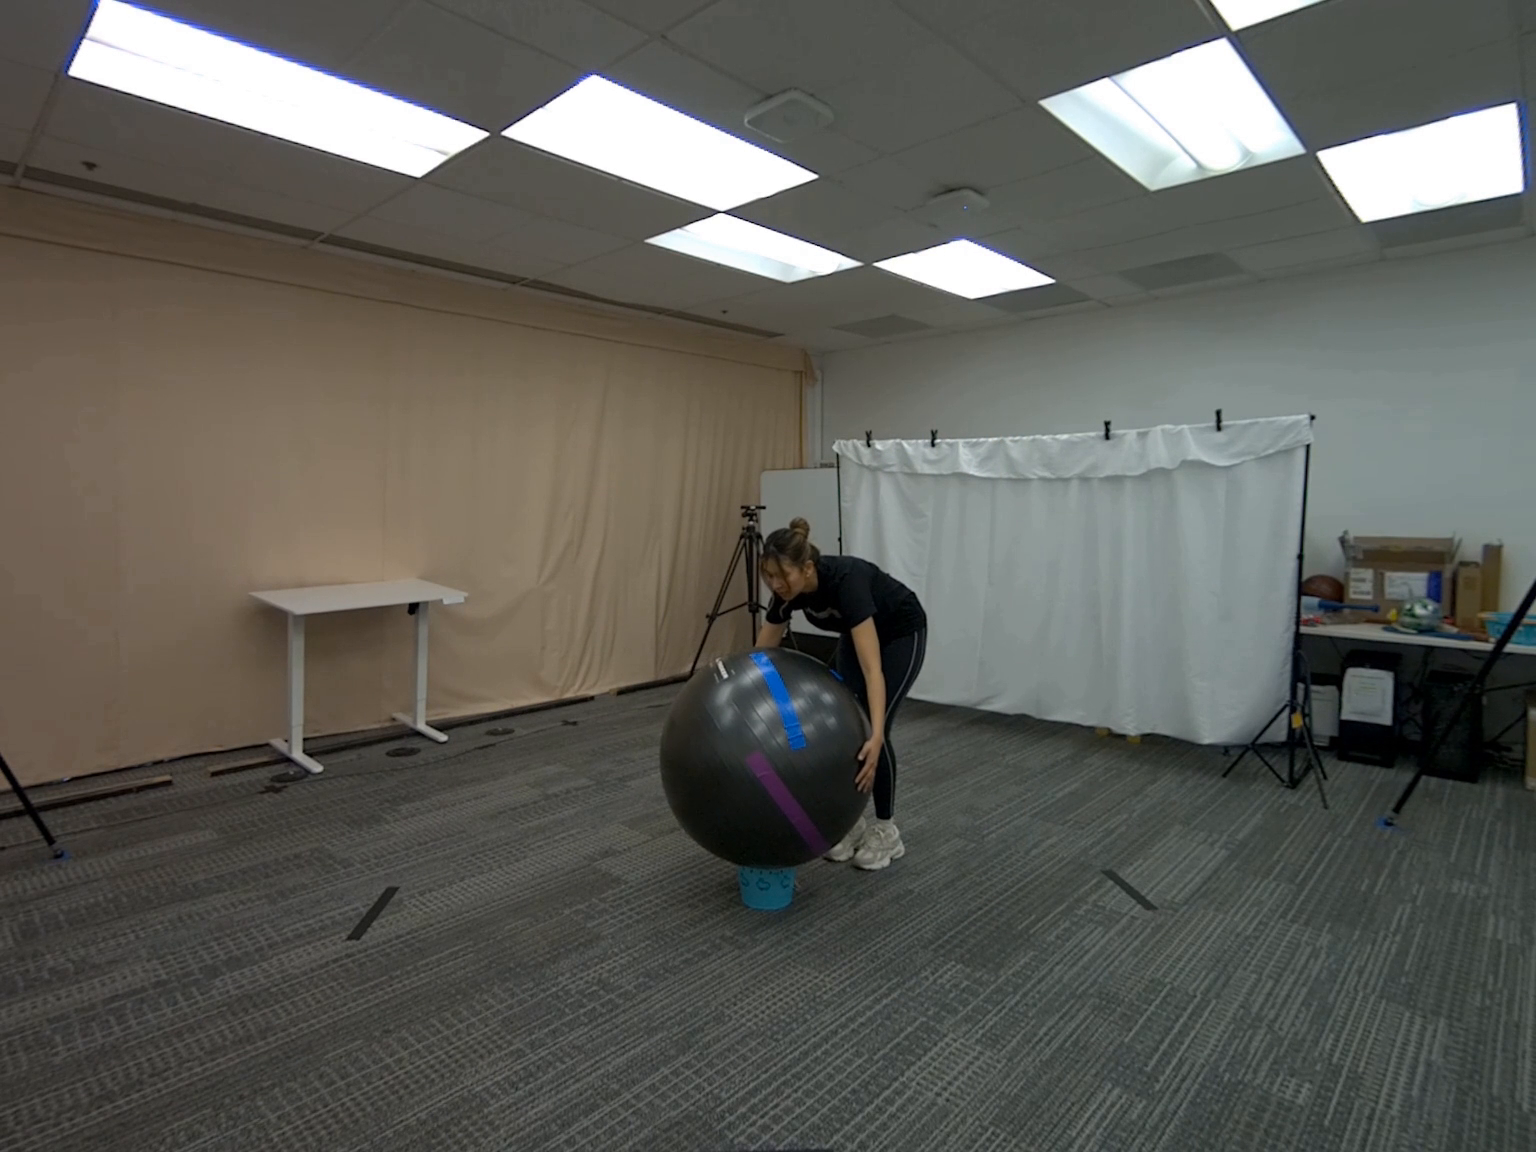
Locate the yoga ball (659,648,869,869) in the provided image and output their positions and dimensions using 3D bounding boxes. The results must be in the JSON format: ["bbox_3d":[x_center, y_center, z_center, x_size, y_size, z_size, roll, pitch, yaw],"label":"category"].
[{"bbox_3d":[-0.005,0.636,2.965,0.757,0.756,0.760,0,4,-2],"label":"yoga ball"}]
